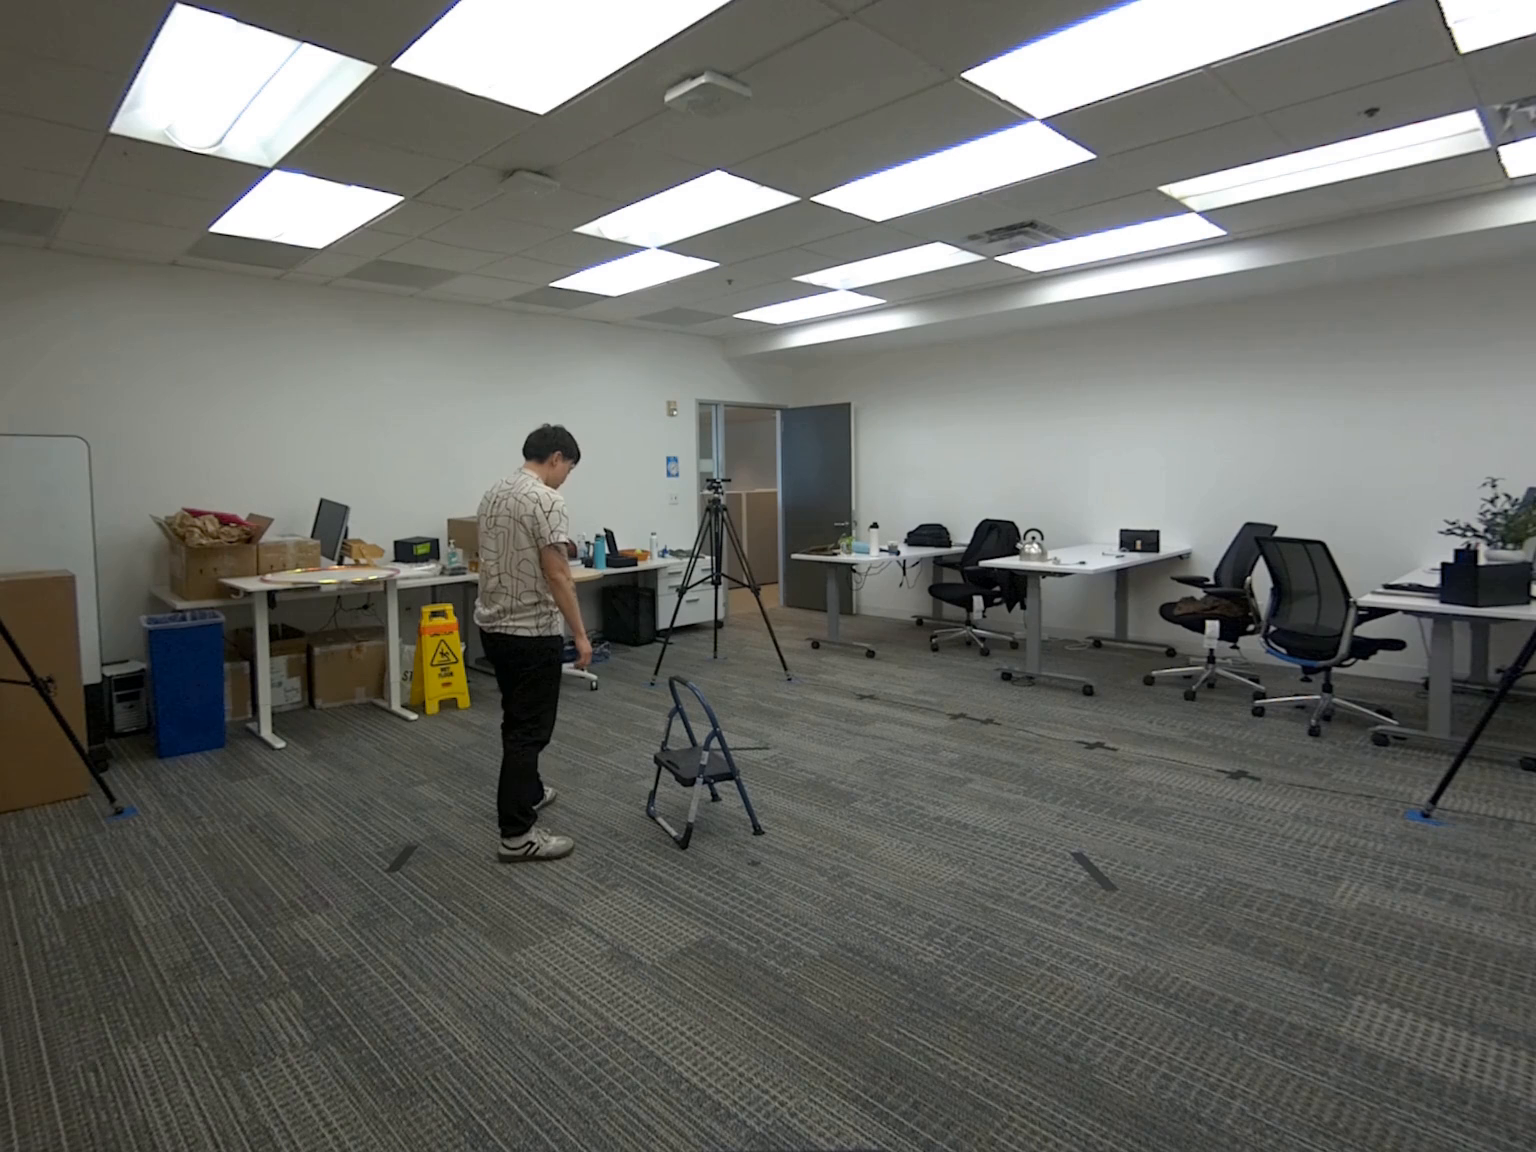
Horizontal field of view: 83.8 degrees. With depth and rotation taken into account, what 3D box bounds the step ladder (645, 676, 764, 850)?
[{"bbox_3d":[-0.270,0.700,3.459,0.341,0.604,0.442,-3,5,-28],"label":"step ladder"}]
